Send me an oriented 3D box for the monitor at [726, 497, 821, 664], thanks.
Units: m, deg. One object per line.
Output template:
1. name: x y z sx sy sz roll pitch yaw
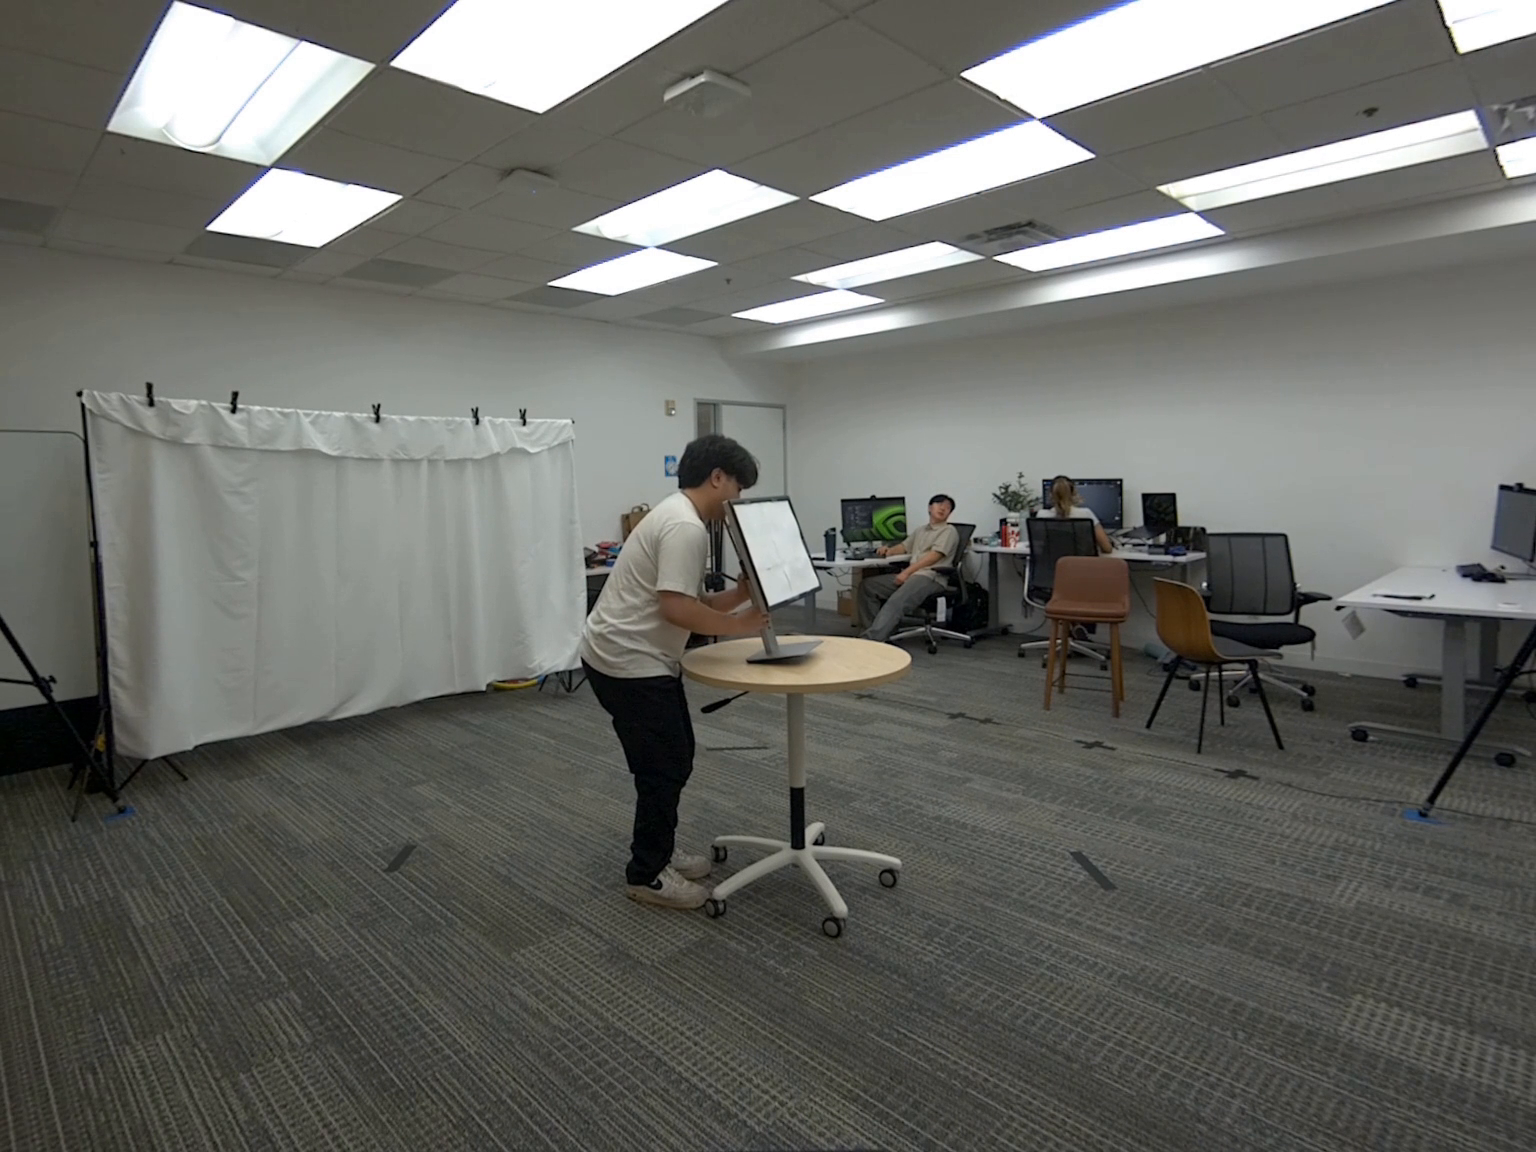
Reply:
1. monitor: -0.011 0.013 2.867 0.213 0.555 0.556 -15 -1 22
